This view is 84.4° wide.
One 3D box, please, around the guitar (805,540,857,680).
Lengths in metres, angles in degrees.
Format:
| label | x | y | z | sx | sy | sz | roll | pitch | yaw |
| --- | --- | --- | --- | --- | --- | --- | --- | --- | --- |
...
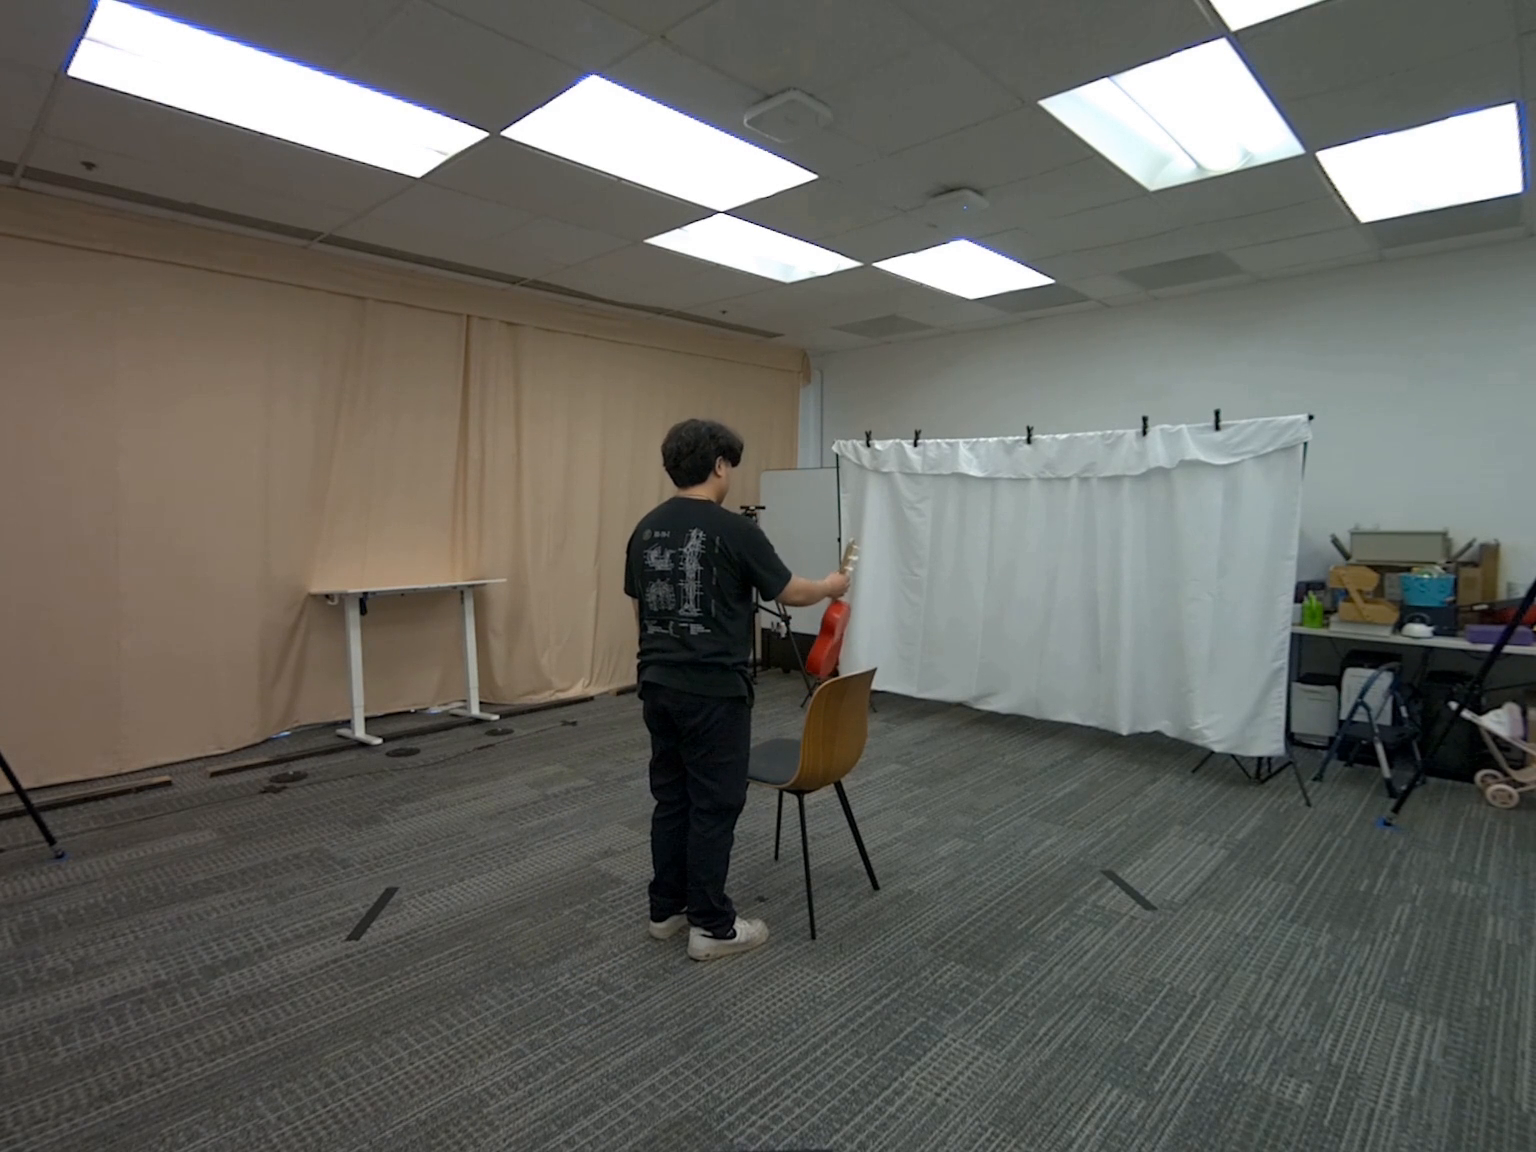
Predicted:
| label | x | y | z | sx | sy | sz | roll | pitch | yaw |
| --- | --- | --- | --- | --- | --- | --- | --- | --- | --- |
| guitar | 0.243 | 0.113 | 2.944 | 0.072 | 0.494 | 0.189 | 21 | 22 | 20 |
